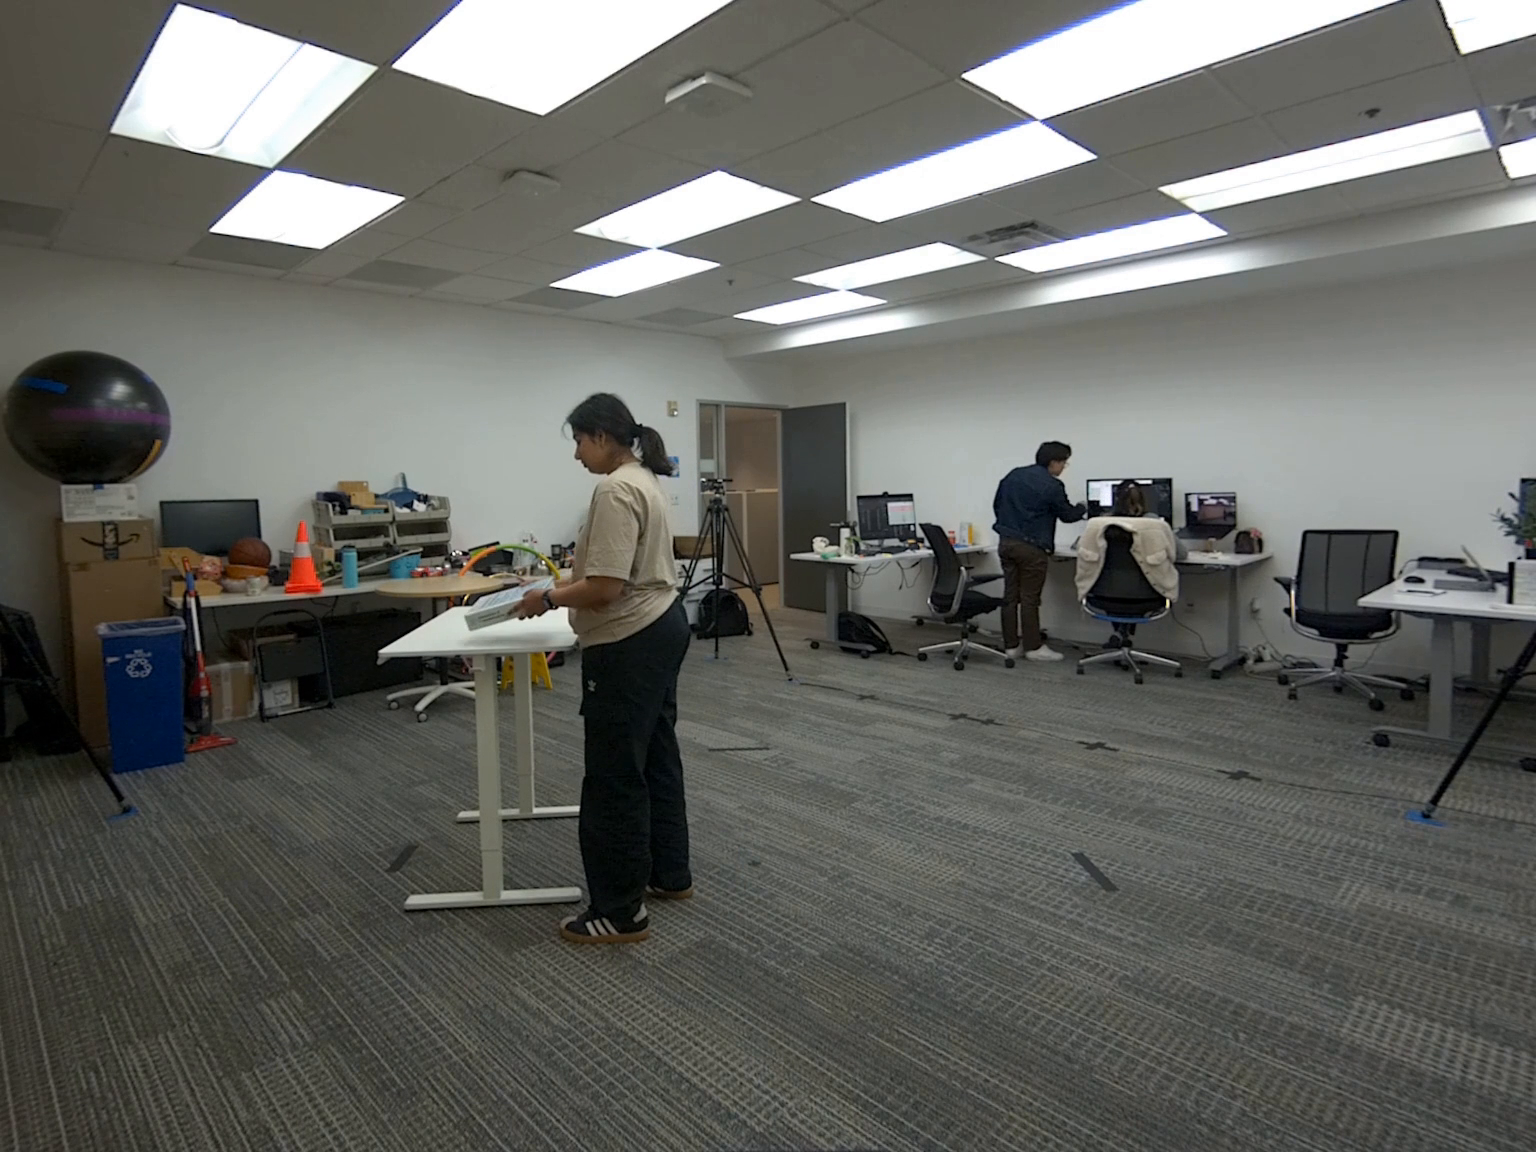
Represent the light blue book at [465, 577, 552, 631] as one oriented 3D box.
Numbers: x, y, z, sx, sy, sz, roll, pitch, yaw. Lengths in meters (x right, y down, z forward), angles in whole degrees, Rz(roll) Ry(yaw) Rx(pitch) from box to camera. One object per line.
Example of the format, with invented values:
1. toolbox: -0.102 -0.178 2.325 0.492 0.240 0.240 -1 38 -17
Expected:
1. light blue book: -0.858 0.092 2.794 0.192 0.058 0.265 -17 16 2
